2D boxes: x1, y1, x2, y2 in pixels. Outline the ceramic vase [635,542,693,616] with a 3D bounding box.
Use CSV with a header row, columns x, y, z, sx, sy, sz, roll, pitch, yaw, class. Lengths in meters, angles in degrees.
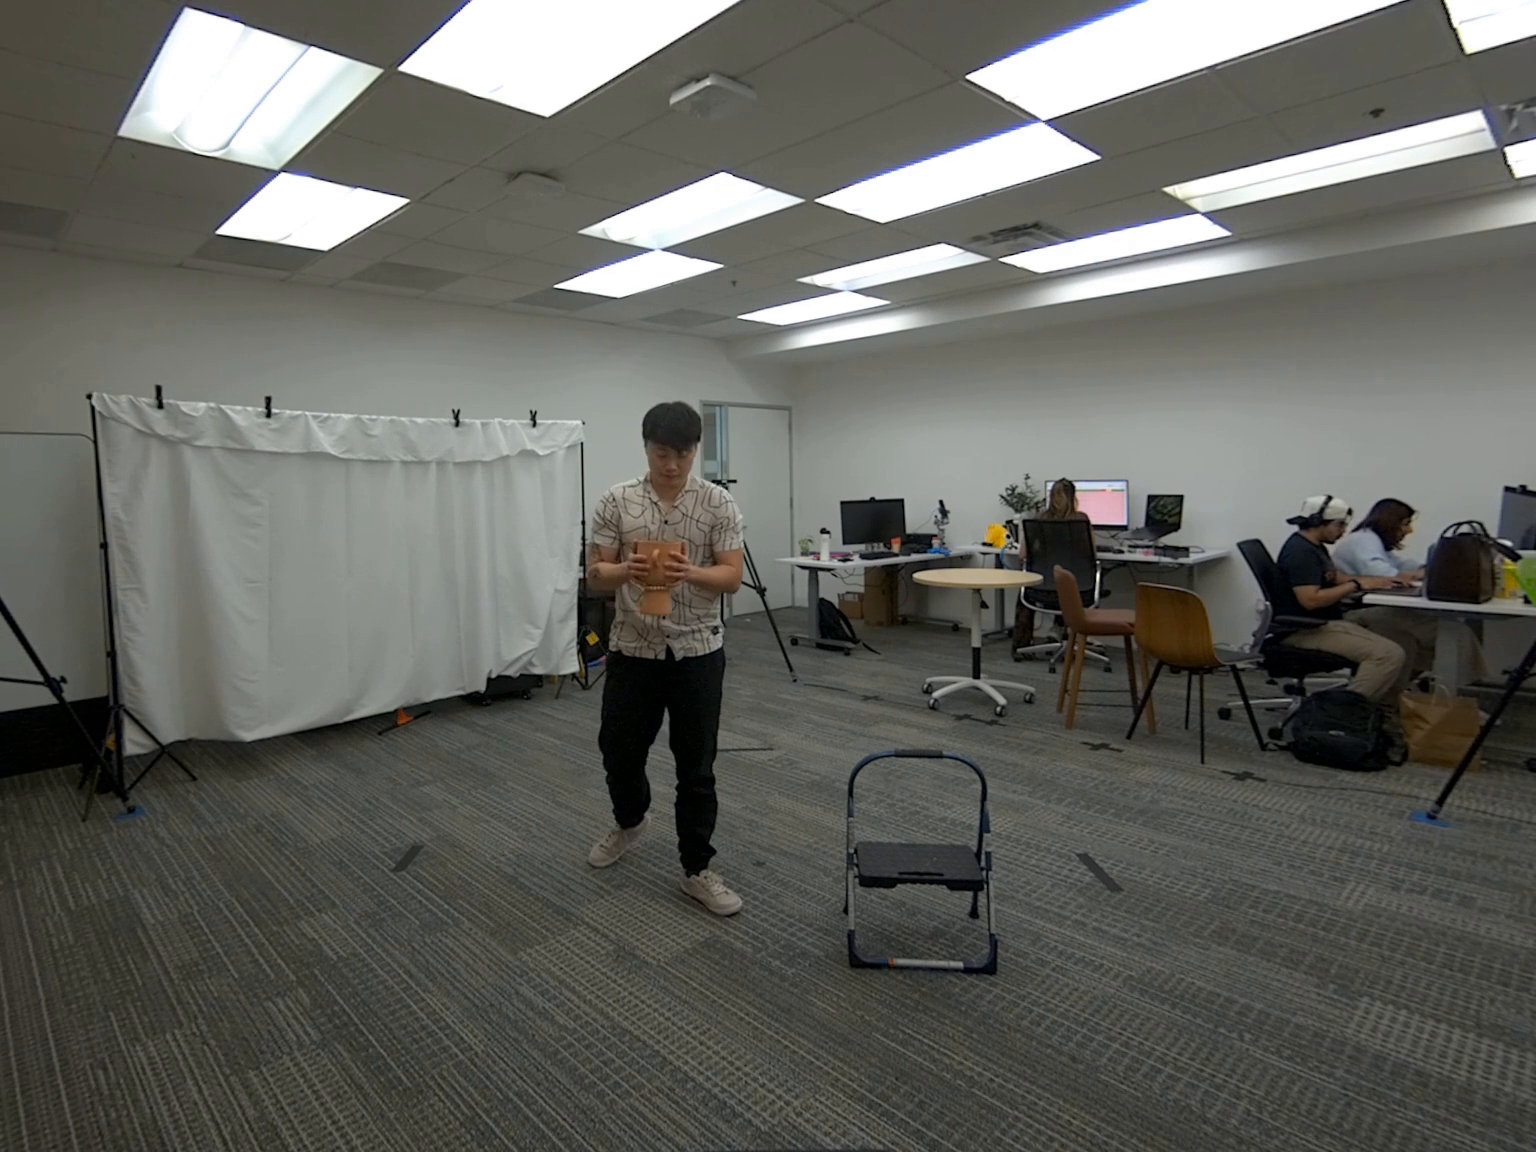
x,y,z,sx,sy,sz,roll,pitch,yaw,class
-0.339,0.009,2.619,0.139,0.219,0.154,3,3,39,ceramic vase
